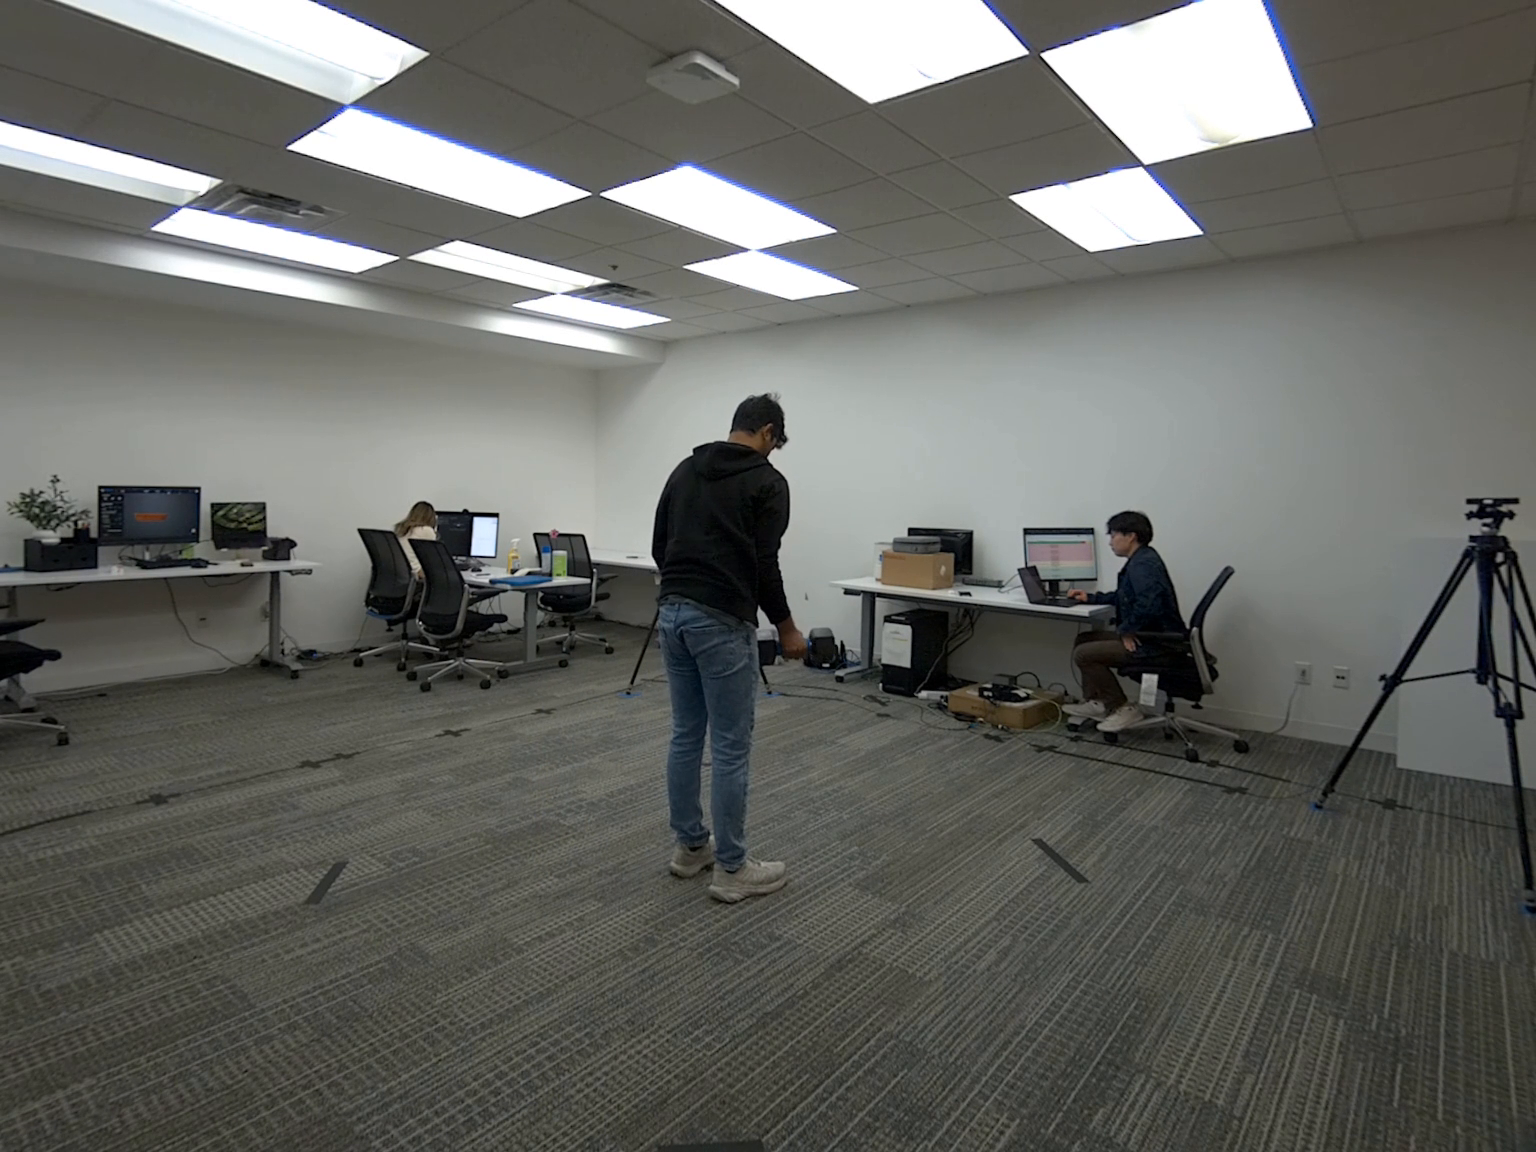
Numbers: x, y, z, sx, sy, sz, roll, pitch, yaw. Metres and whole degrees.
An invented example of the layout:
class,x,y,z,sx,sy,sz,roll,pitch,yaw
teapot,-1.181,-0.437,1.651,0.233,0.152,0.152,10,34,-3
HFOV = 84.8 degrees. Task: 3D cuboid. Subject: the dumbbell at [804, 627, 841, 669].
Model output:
class,x,y,z,sx,sy,sz,roll,pitch,yaw
dumbbell,0.087,0.246,3.043,0.292,0.123,0.109,-3,-3,-6
